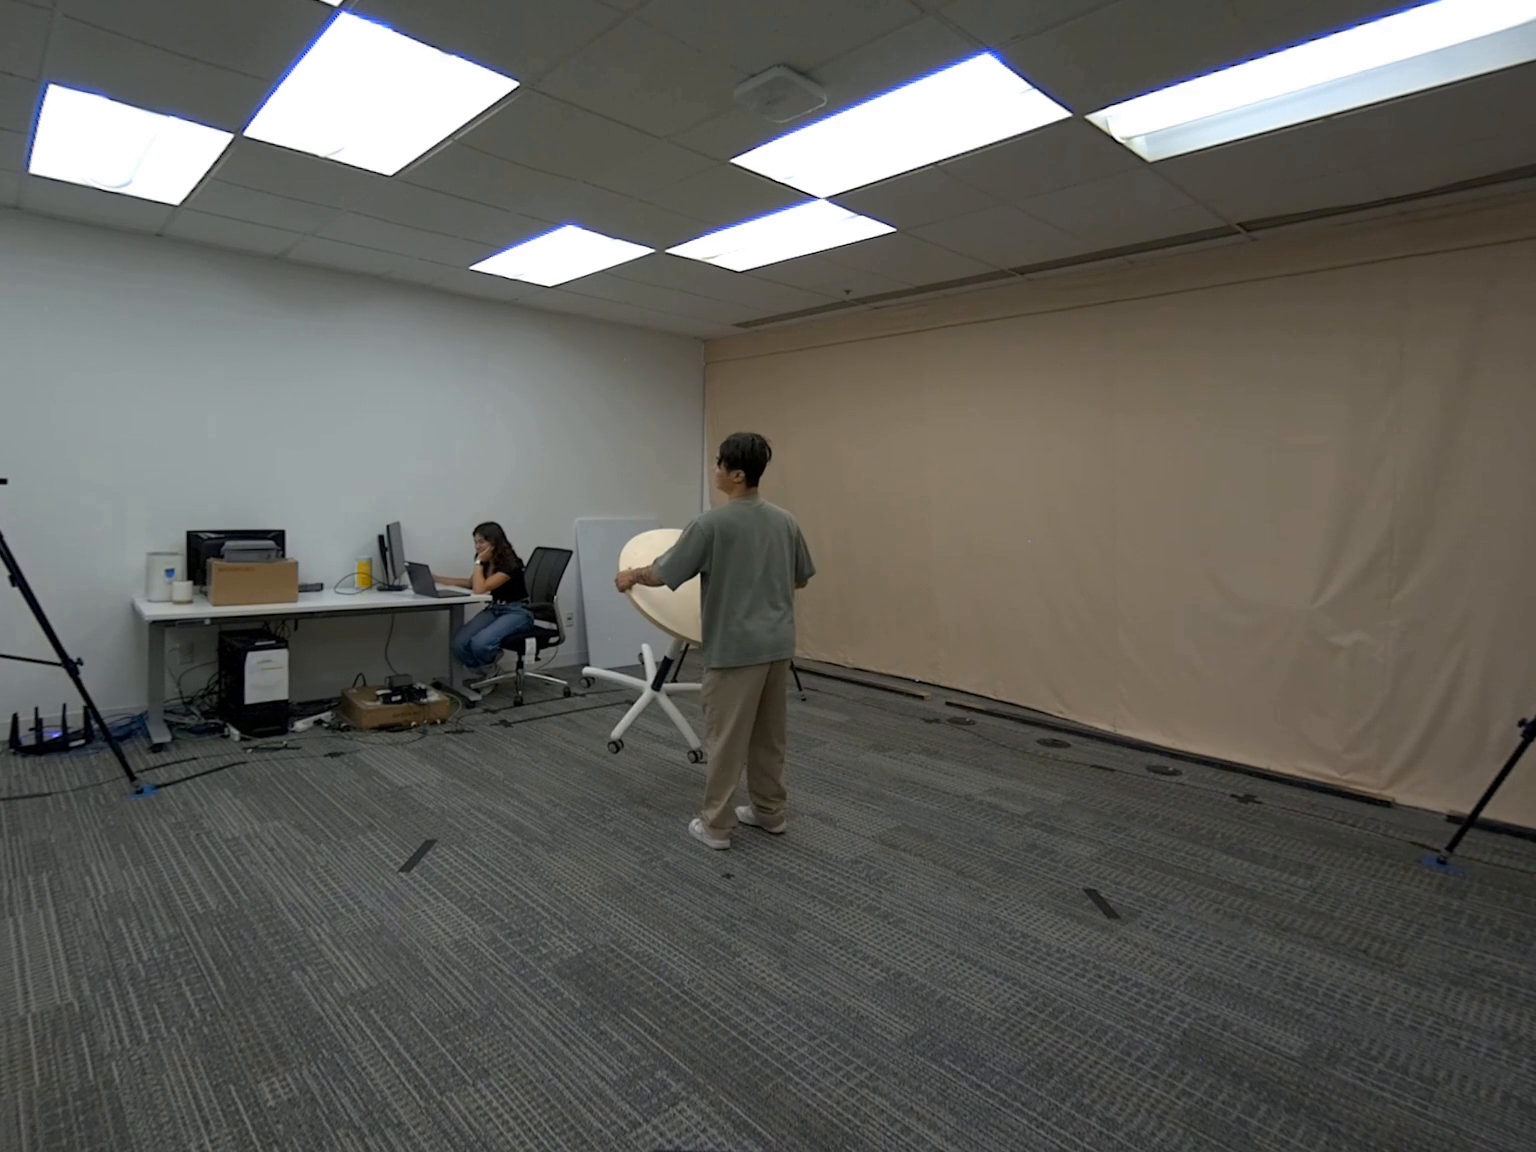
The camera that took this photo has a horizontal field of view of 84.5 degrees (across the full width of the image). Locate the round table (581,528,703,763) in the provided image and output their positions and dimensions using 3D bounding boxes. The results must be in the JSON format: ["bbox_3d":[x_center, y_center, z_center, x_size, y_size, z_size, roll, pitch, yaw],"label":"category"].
[{"bbox_3d":[-0.424,0.349,3.866,0.776,0.779,0.802,17,33,-13],"label":"round table"}]
